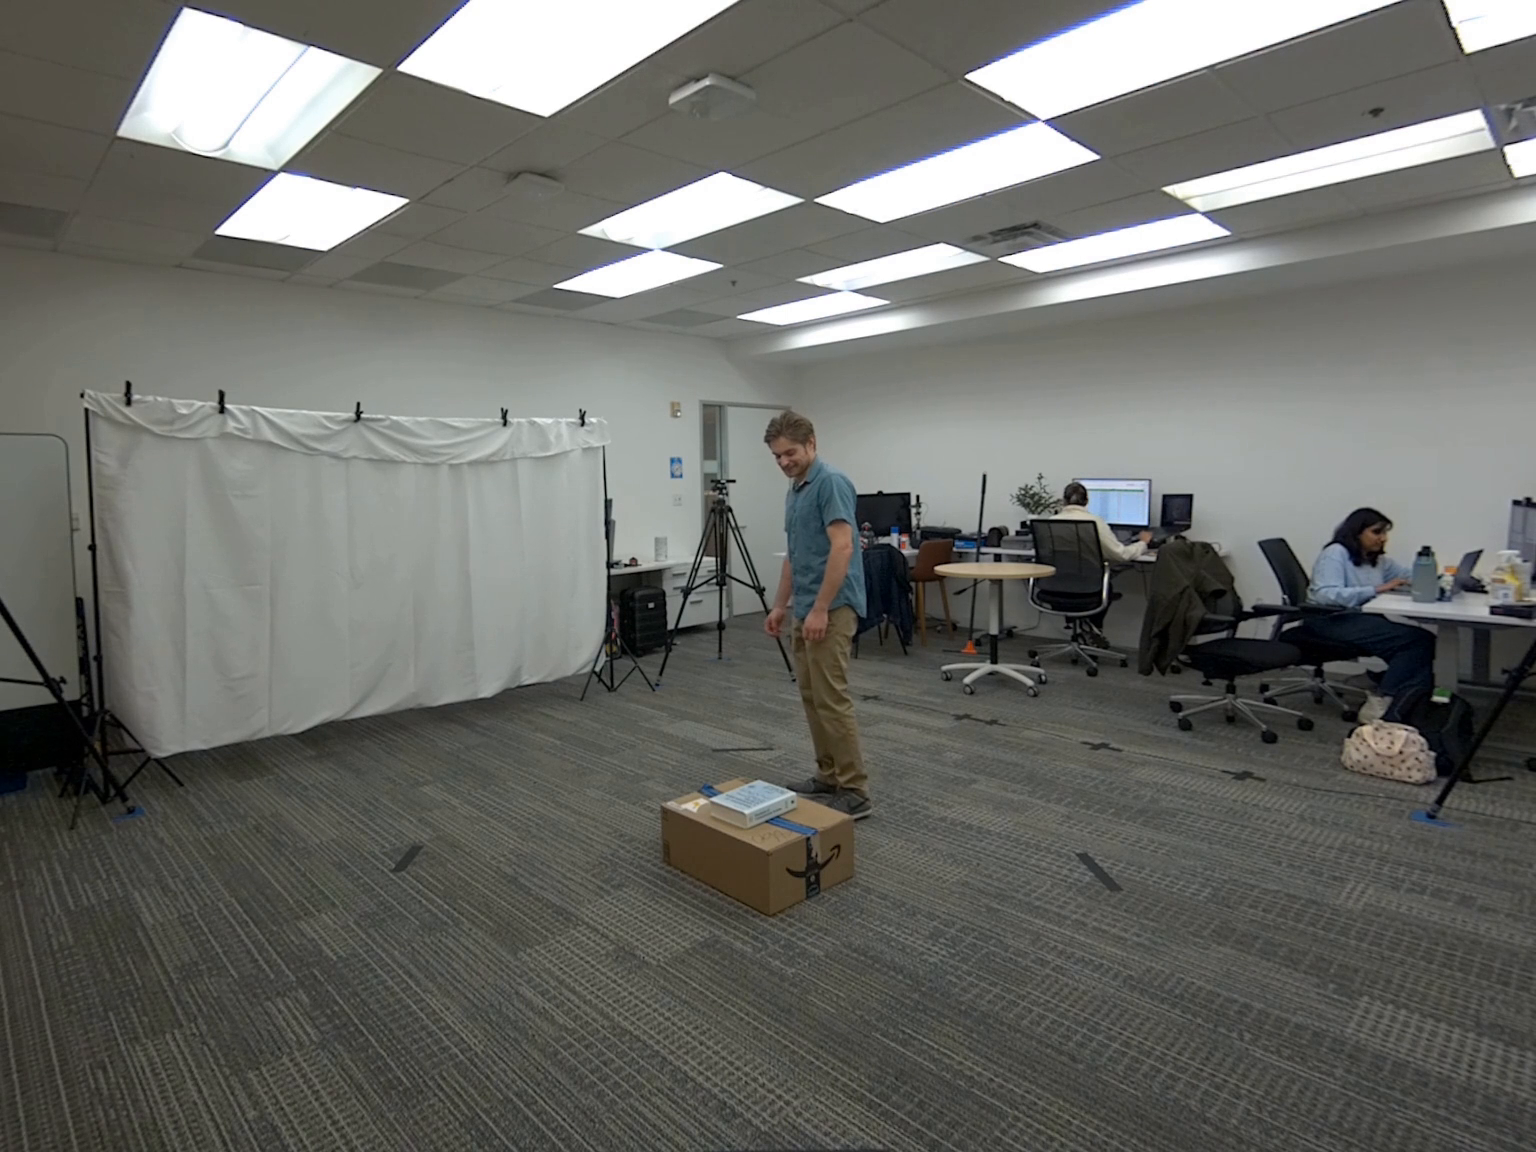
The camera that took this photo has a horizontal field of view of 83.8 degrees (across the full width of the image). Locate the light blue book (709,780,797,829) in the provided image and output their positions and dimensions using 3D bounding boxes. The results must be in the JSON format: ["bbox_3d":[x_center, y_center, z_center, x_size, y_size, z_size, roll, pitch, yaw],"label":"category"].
[{"bbox_3d":[-0.049,0.811,3.057,0.197,0.059,0.254,5,9,44],"label":"light blue book"}]
